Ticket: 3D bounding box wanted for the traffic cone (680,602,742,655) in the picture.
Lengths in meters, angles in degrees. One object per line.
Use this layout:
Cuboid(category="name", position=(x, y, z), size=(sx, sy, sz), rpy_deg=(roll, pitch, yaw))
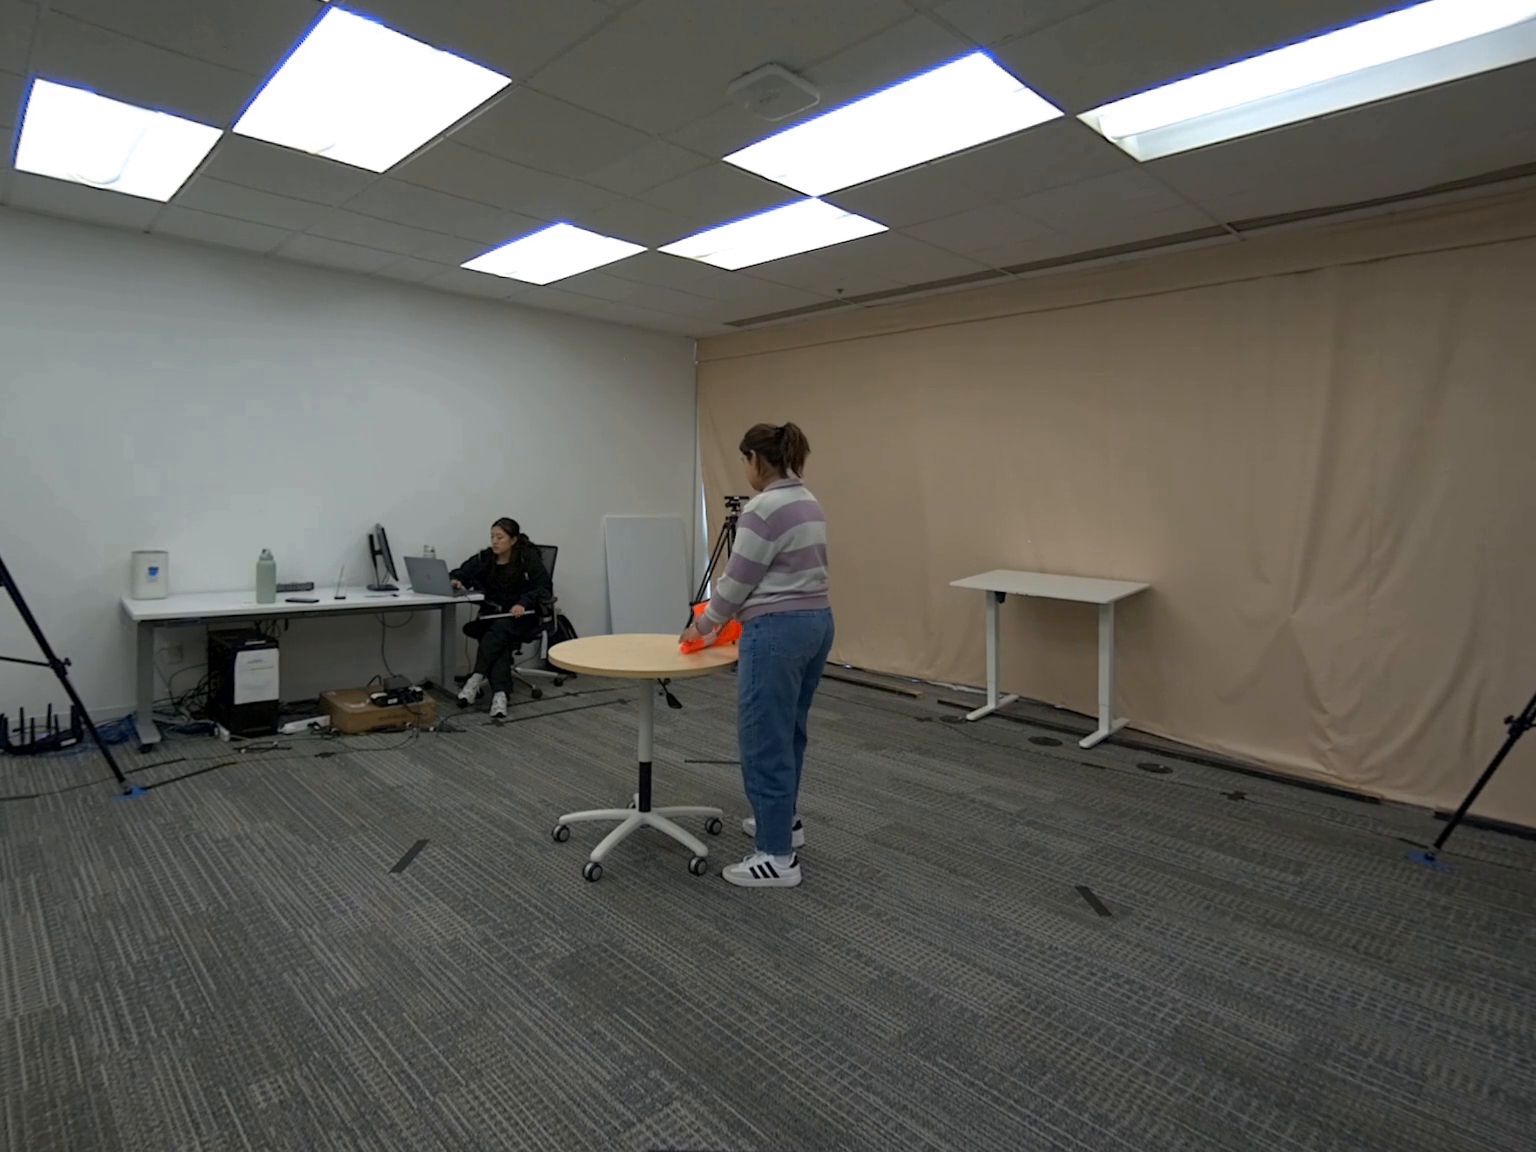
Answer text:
Cuboid(category="traffic cone", position=(-0.276, 0.254, 3.418), size=(0.205, 0.203, 0.382), rpy_deg=(-21, 9, 25))
